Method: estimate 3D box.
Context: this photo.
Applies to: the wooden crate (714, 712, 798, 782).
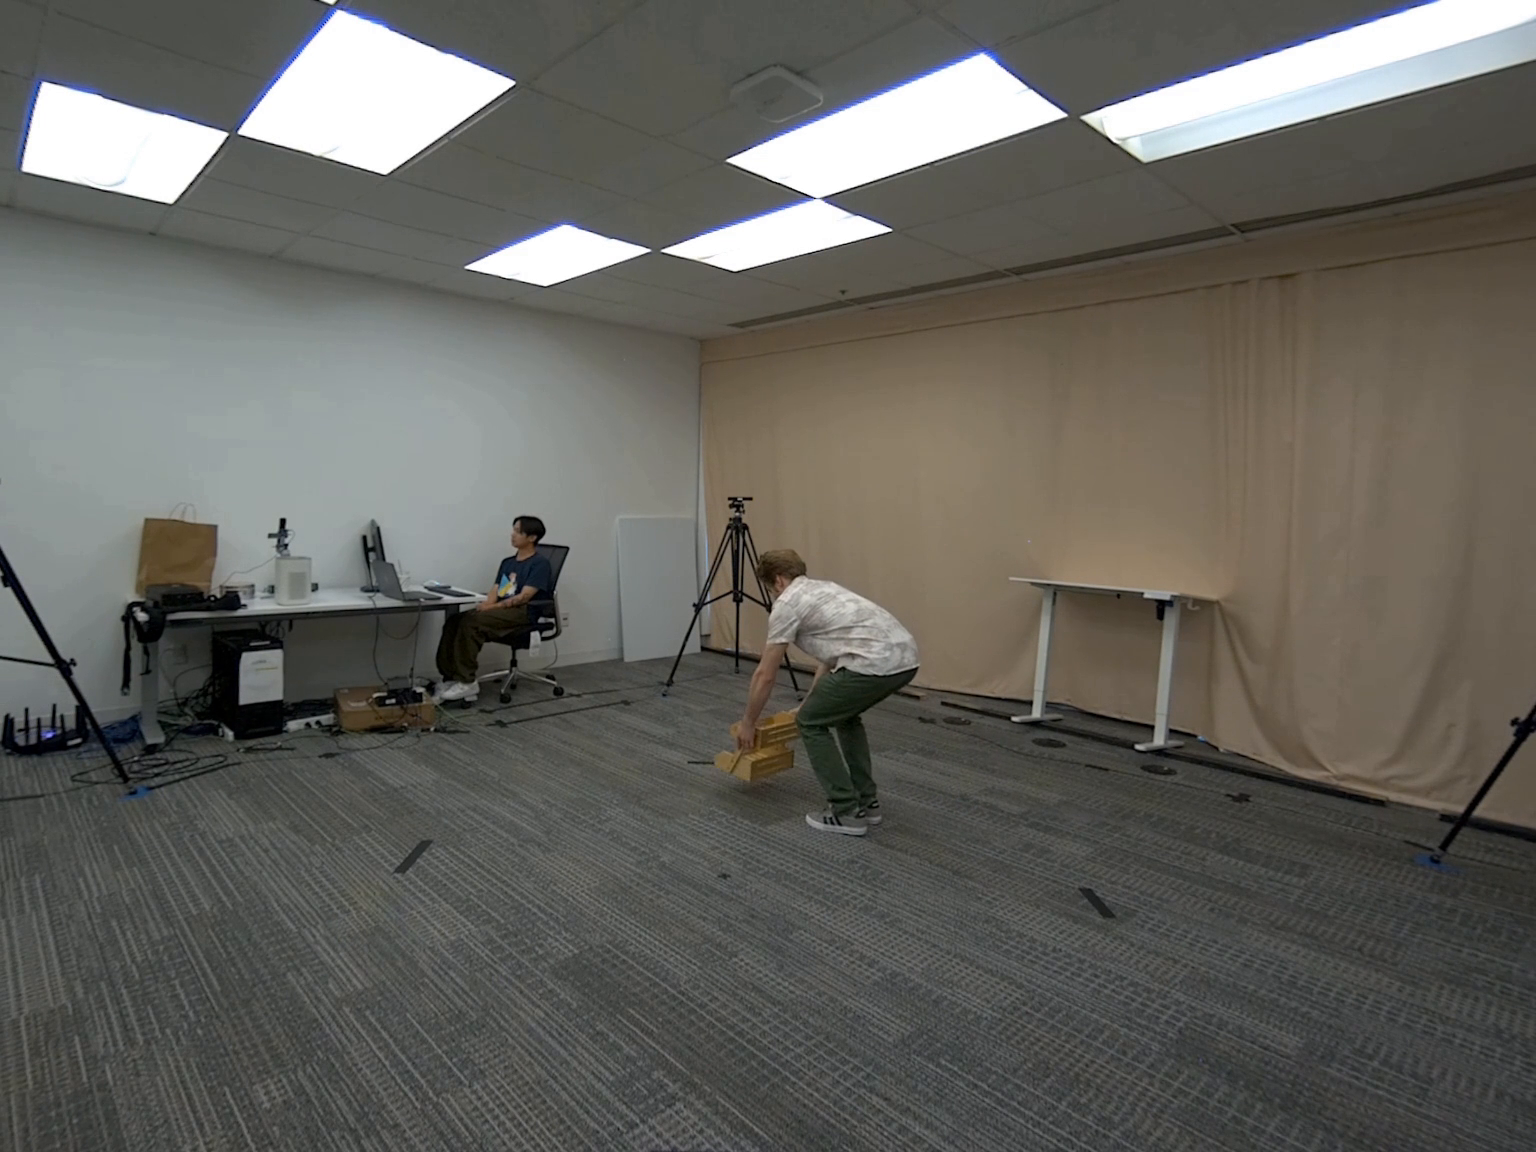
[{"bbox_3d":[-0.055,0.787,4.014,0.310,0.272,0.317,10,9,43],"label":"wooden crate"}]
